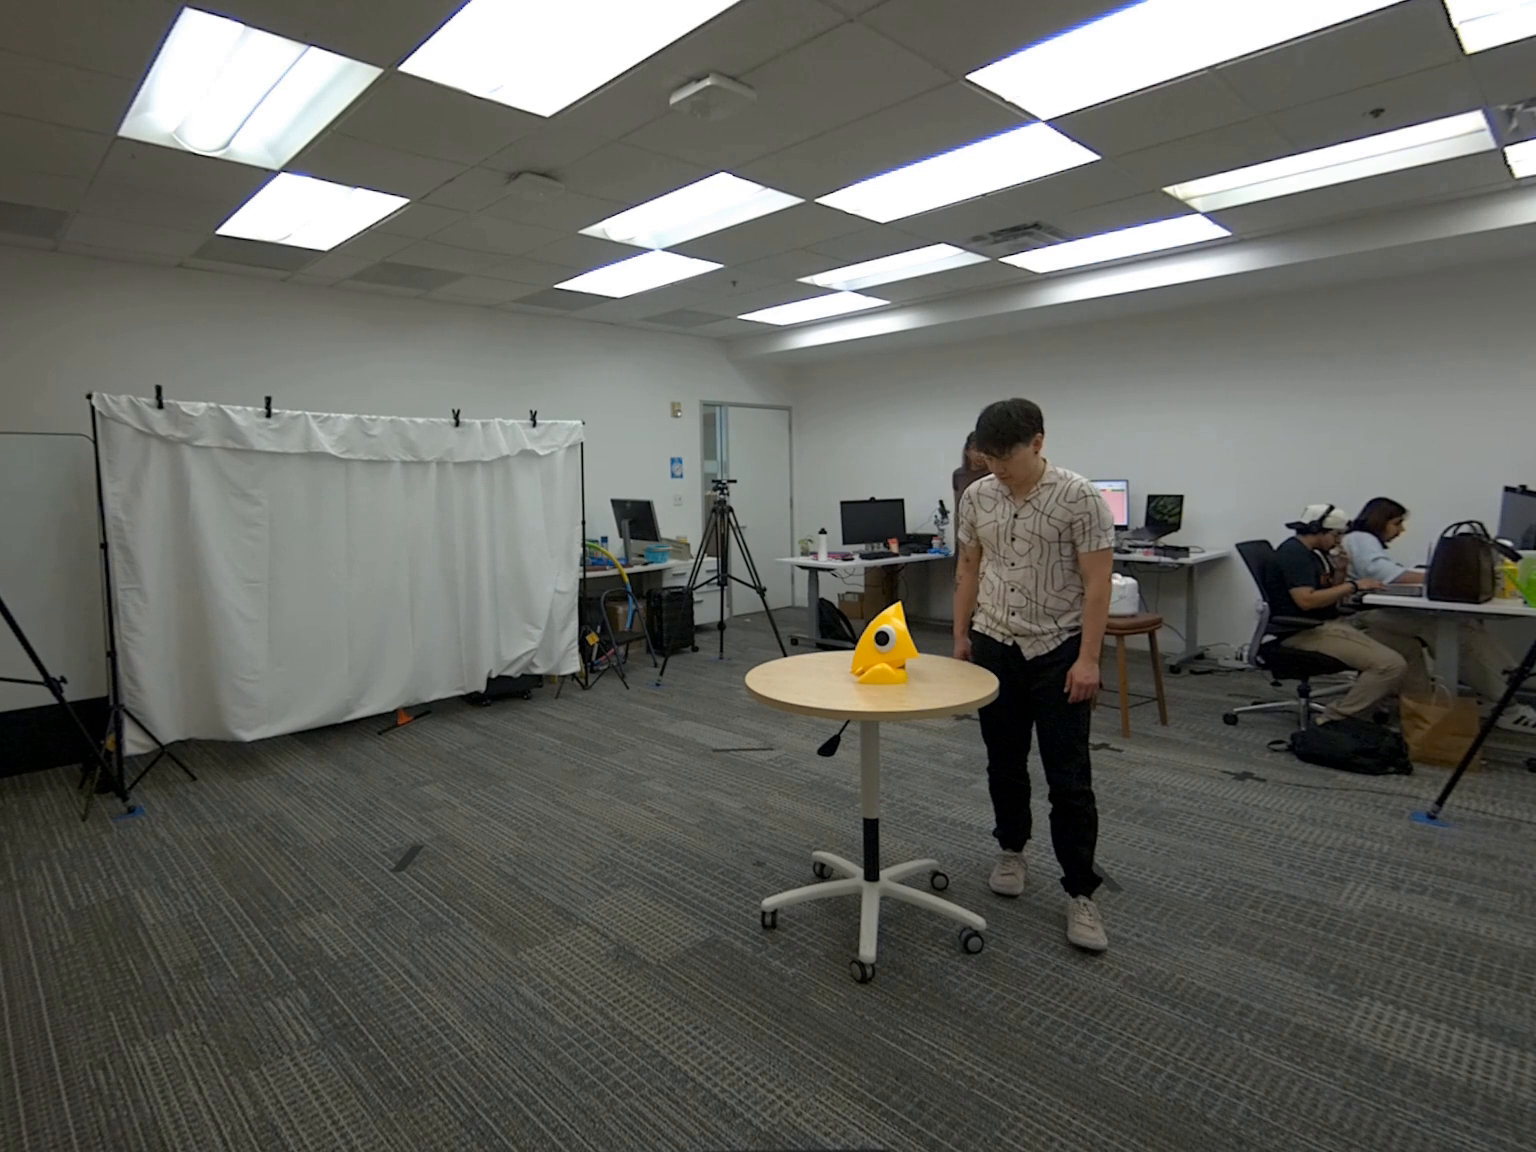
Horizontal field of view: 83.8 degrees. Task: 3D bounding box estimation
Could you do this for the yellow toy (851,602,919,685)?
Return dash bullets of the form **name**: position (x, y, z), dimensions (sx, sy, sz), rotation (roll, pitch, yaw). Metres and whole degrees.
- **yellow toy**: position (0.359, 0.198, 2.624), dimensions (0.192, 0.230, 0.206), rotation (-2, 5, -4)
